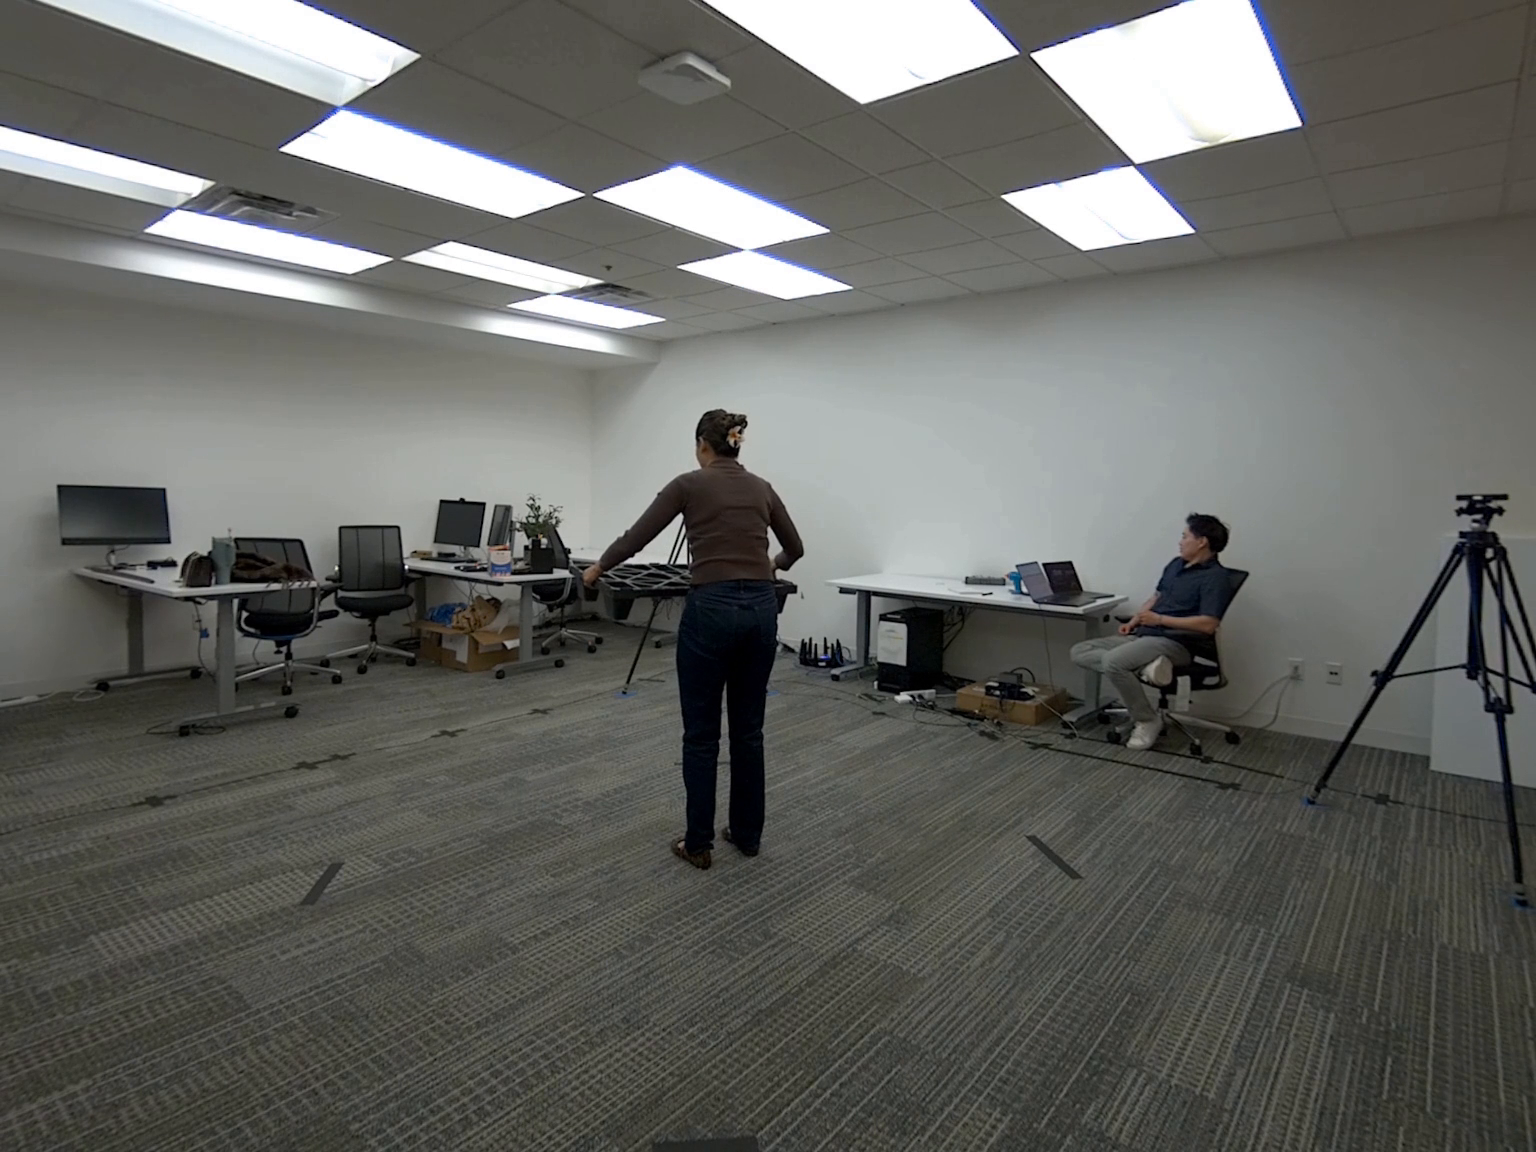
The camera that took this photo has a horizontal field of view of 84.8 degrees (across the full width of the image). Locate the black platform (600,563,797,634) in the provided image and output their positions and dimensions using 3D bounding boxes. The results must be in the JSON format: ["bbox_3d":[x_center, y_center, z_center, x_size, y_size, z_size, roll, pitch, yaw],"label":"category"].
[{"bbox_3d":[-0.376,0.059,3.574,0.785,0.142,0.624,-1,10,-27],"label":"black platform"}]
